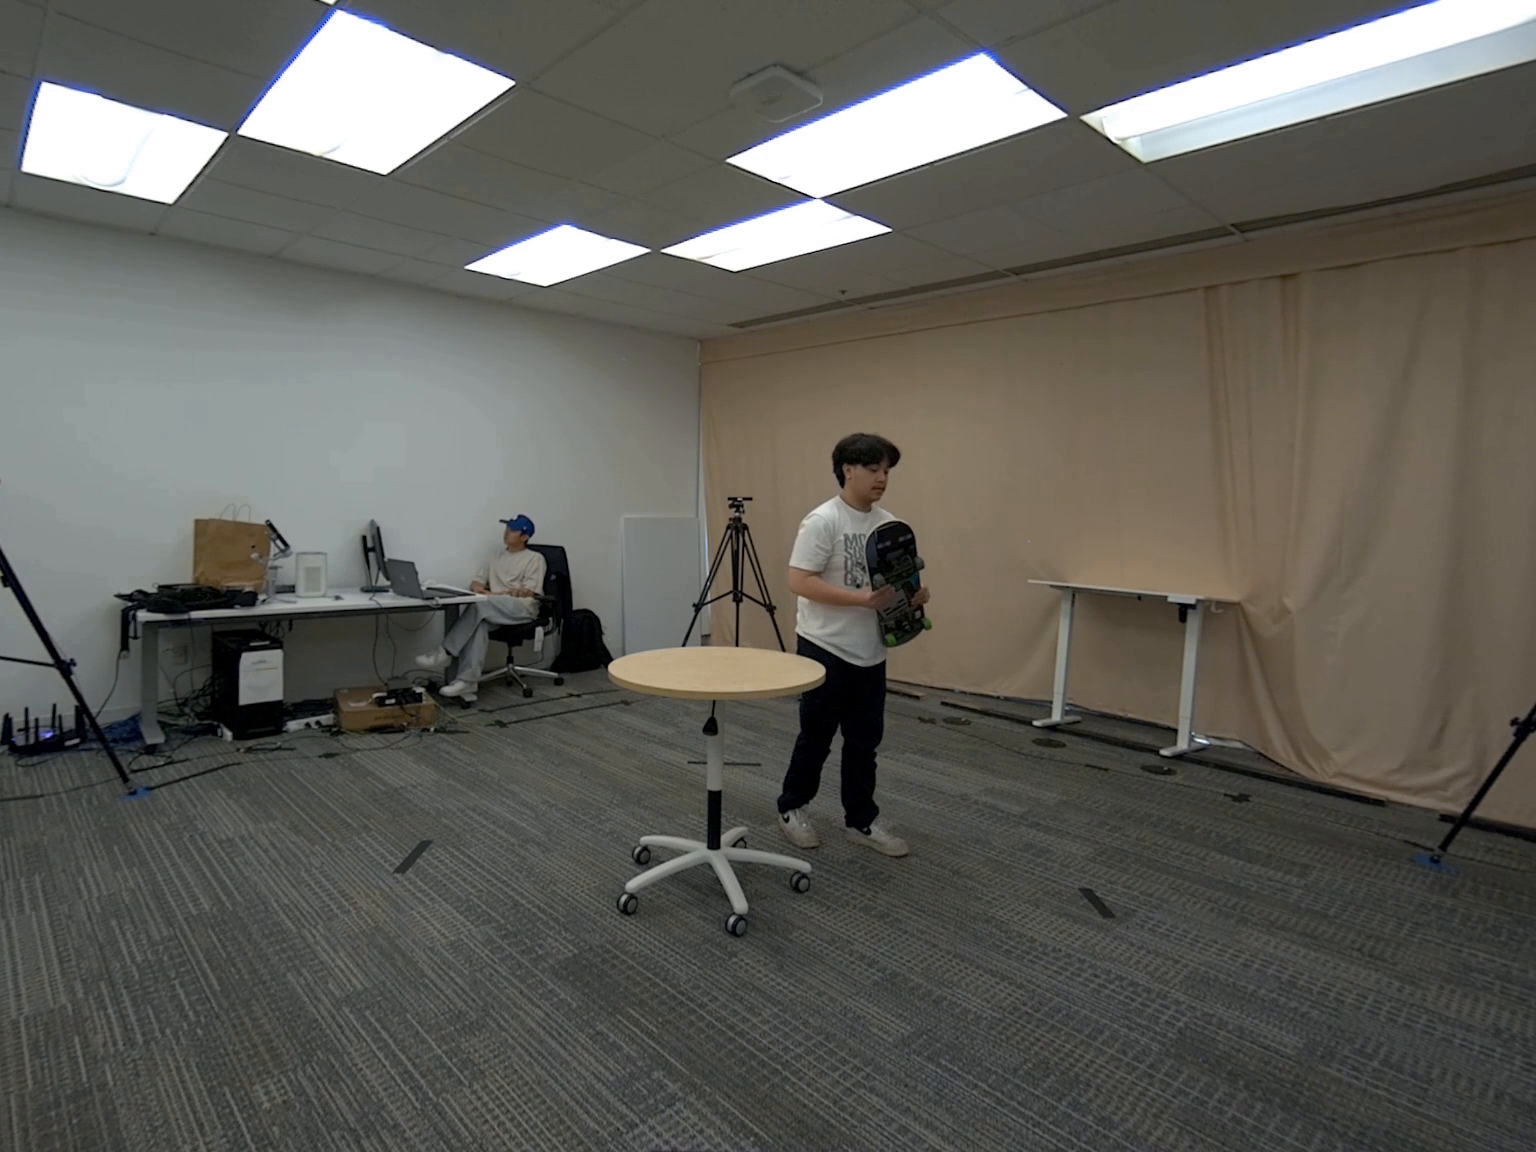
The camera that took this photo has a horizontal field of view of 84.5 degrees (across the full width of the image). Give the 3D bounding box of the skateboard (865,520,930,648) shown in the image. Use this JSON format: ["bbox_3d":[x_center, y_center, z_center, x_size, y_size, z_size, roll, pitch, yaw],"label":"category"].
[{"bbox_3d":[0.474,0.083,3.147,0.193,0.114,0.763,-25,-39,-5],"label":"skateboard"}]
